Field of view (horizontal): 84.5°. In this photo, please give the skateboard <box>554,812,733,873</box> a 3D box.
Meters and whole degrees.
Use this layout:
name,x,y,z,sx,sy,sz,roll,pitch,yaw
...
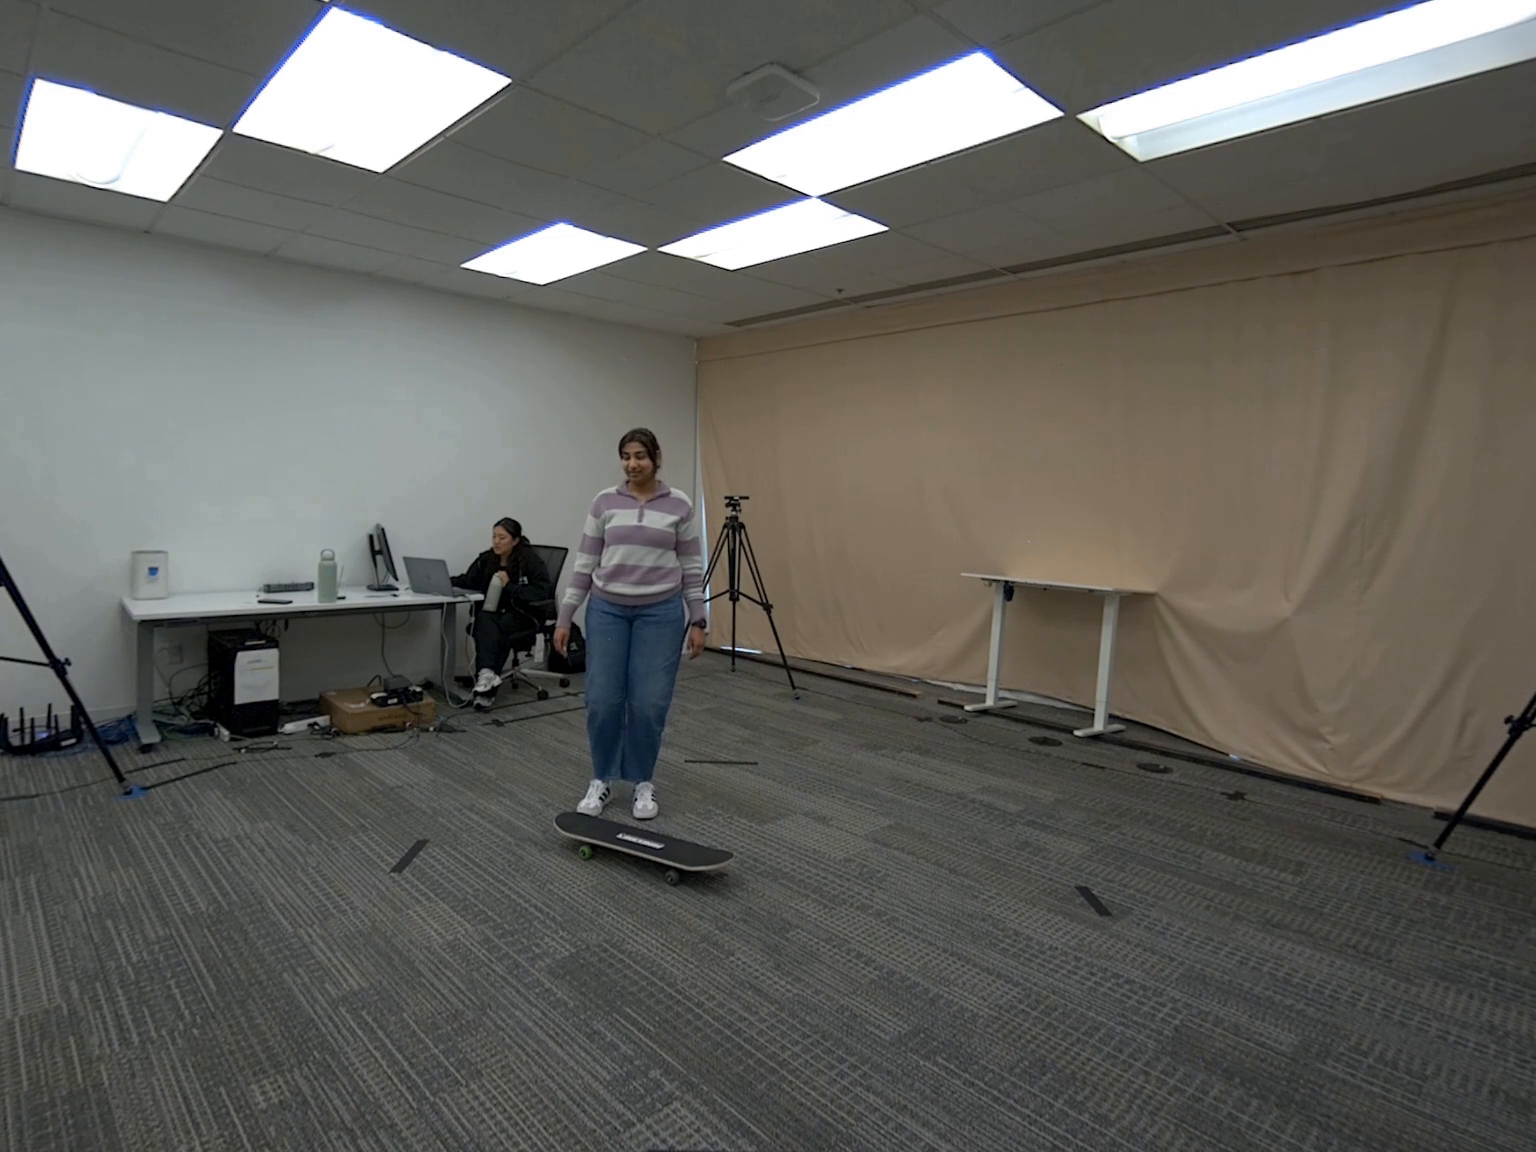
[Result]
name,x,y,z,sx,sy,sz,roll,pitch,yaw
skateboard,-0.491,1.030,3.186,0.802,0.110,0.190,4,5,29
